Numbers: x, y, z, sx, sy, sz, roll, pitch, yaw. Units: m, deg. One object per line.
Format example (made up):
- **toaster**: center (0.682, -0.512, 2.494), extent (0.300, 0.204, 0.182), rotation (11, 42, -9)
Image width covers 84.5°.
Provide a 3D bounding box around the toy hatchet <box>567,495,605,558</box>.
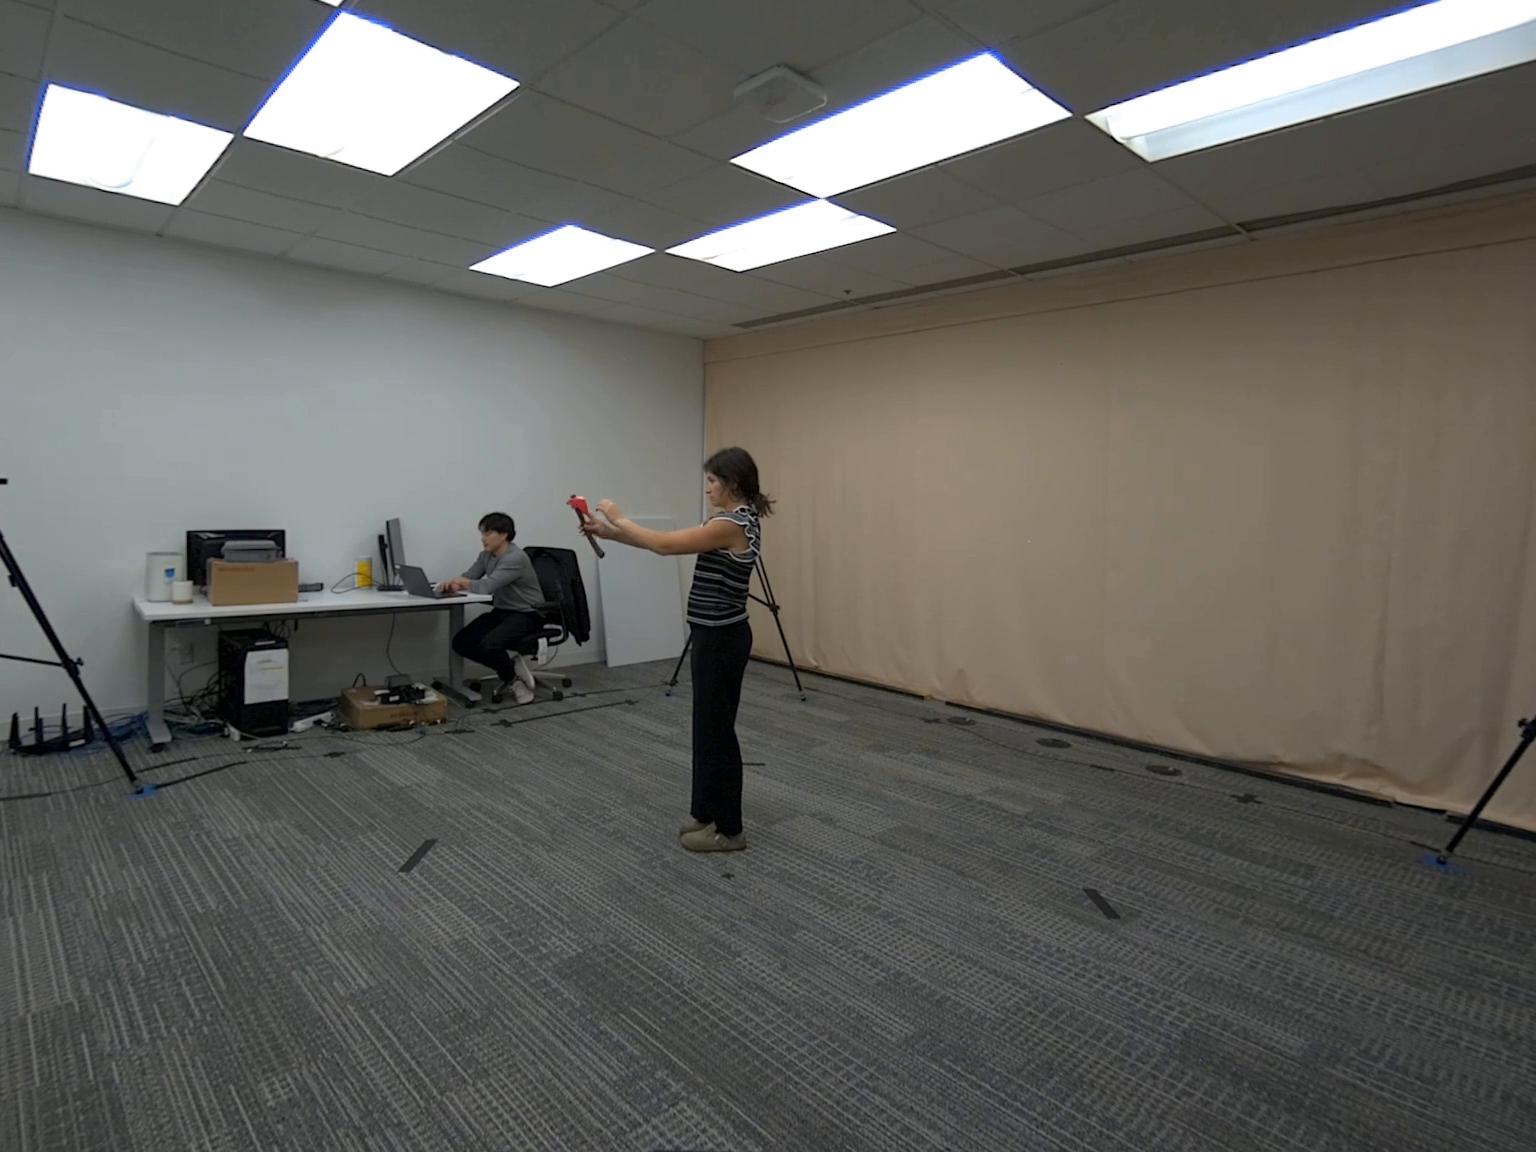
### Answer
- **toy hatchet**: center (-0.708, -0.201, 3.326), extent (0.029, 0.270, 0.132), rotation (-34, -2, -39)
